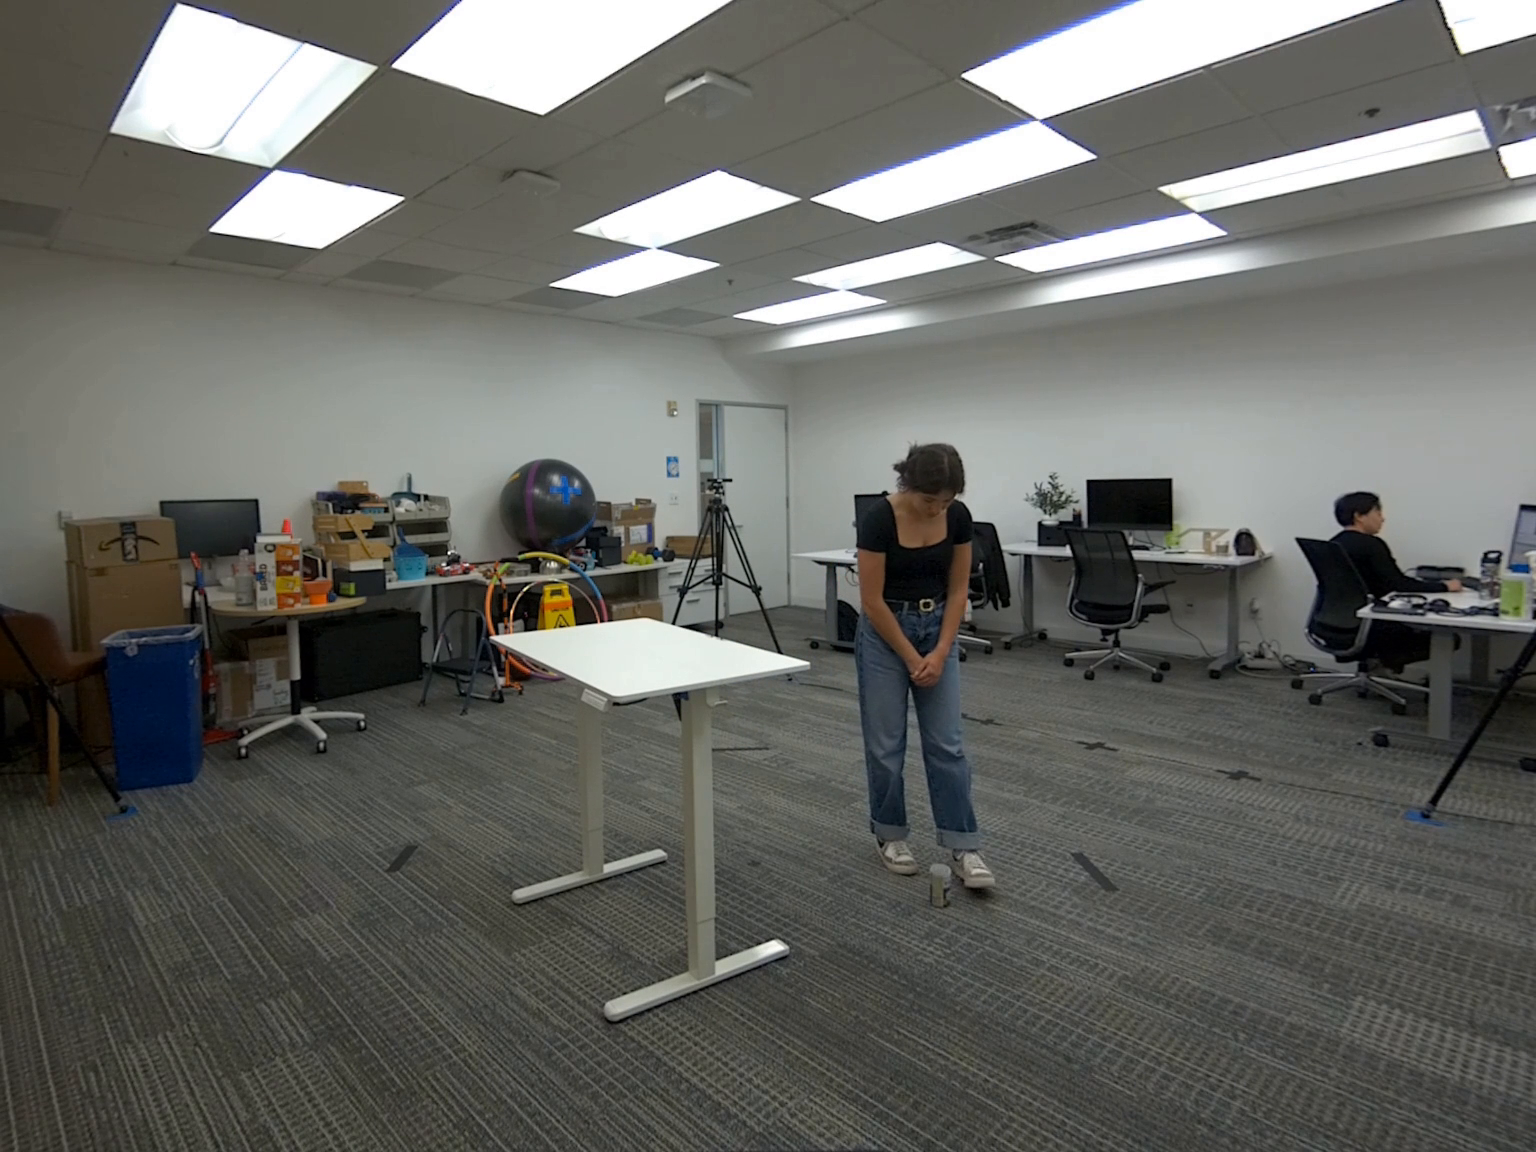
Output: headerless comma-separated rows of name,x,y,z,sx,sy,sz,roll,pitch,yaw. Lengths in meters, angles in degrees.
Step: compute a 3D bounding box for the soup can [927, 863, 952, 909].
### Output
soup can,0.550,1.009,2.782,0.067,0.121,0.067,-1,6,-2
